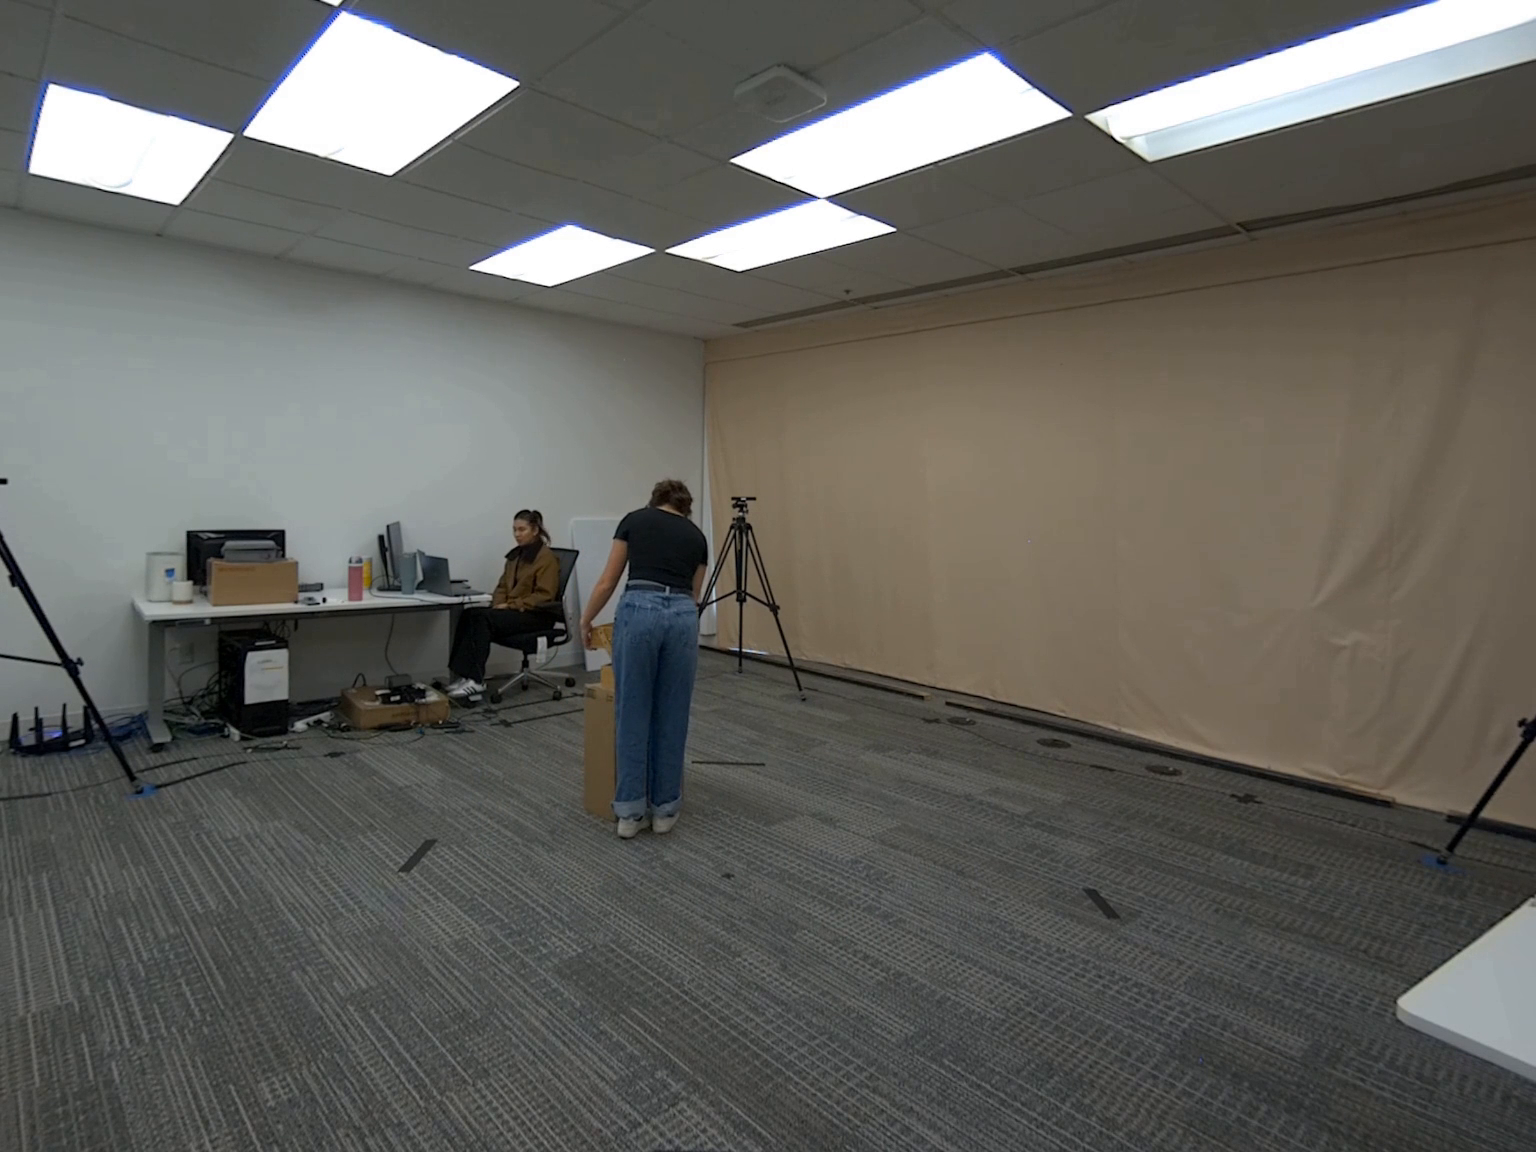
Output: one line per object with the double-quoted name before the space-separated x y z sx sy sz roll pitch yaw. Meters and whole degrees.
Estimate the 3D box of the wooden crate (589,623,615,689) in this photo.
"wooden crate" -0.589 0.343 3.775 0.307 0.273 0.320 1 4 21
